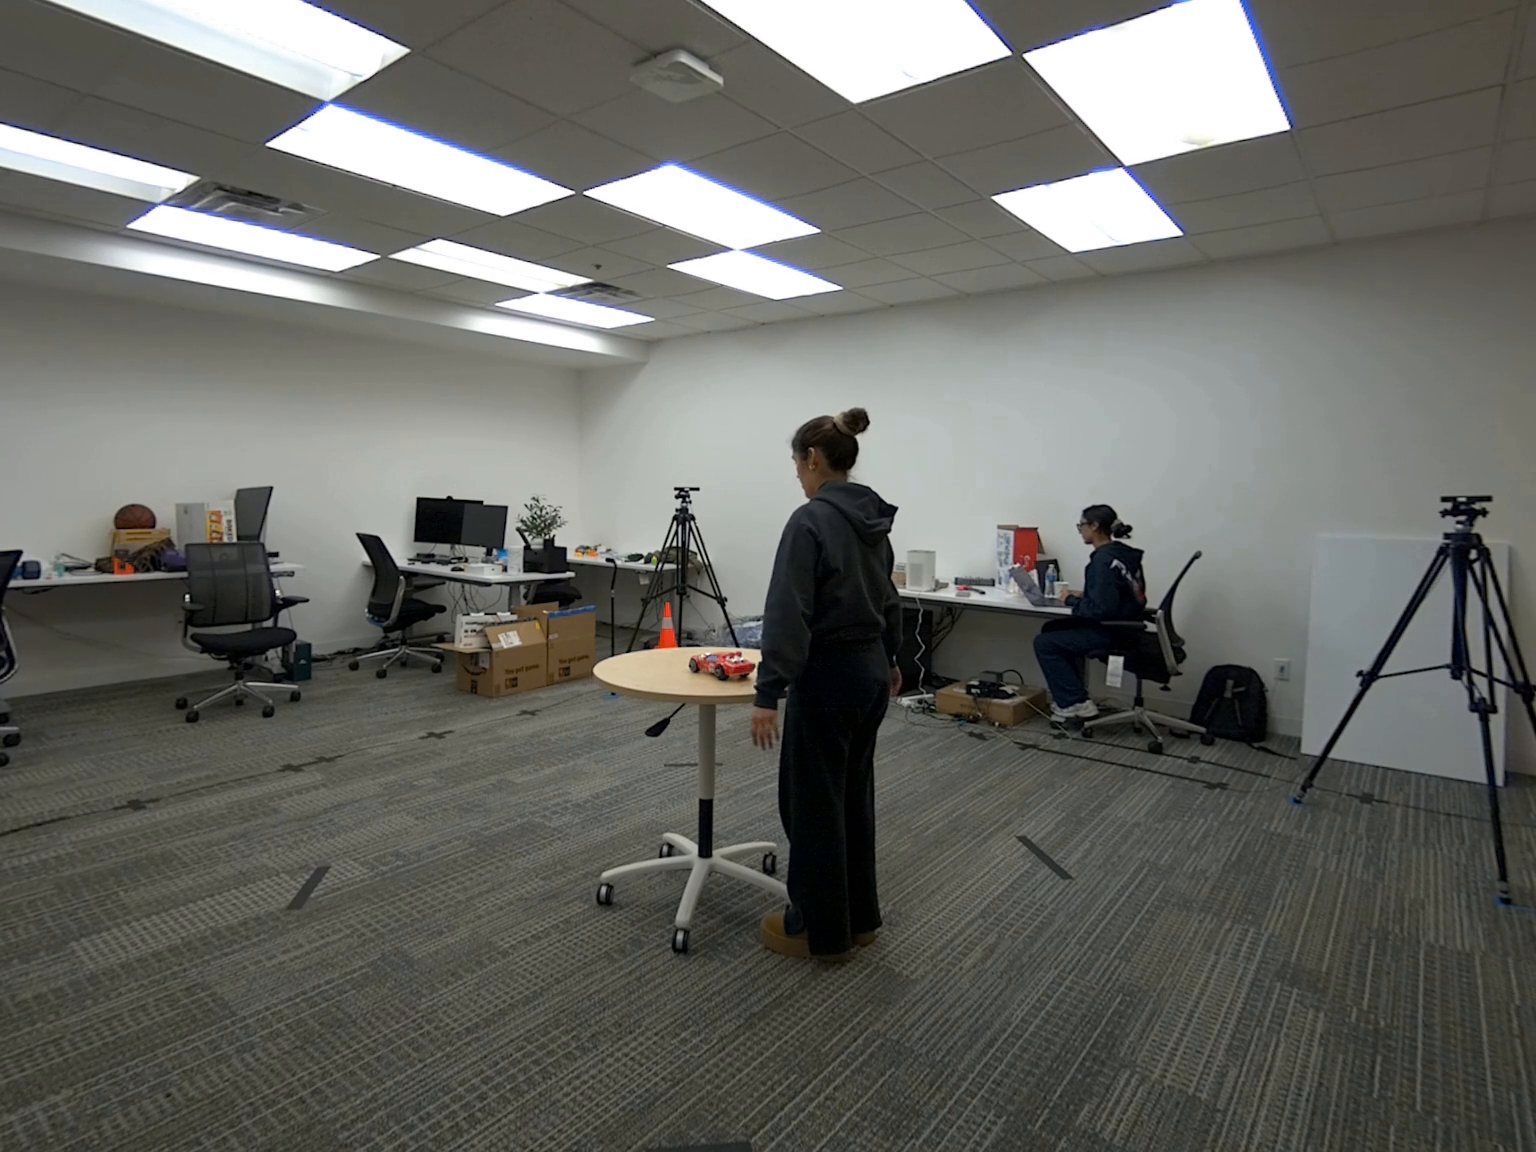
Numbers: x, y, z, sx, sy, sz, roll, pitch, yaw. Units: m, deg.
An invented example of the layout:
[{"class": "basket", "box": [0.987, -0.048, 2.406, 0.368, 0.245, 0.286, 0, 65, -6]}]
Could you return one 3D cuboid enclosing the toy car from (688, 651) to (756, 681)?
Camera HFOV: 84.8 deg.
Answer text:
[{"class": "toy car", "box": [-0.149, 0.288, 2.750, 0.126, 0.083, 0.261, -3, -4, -39]}]
